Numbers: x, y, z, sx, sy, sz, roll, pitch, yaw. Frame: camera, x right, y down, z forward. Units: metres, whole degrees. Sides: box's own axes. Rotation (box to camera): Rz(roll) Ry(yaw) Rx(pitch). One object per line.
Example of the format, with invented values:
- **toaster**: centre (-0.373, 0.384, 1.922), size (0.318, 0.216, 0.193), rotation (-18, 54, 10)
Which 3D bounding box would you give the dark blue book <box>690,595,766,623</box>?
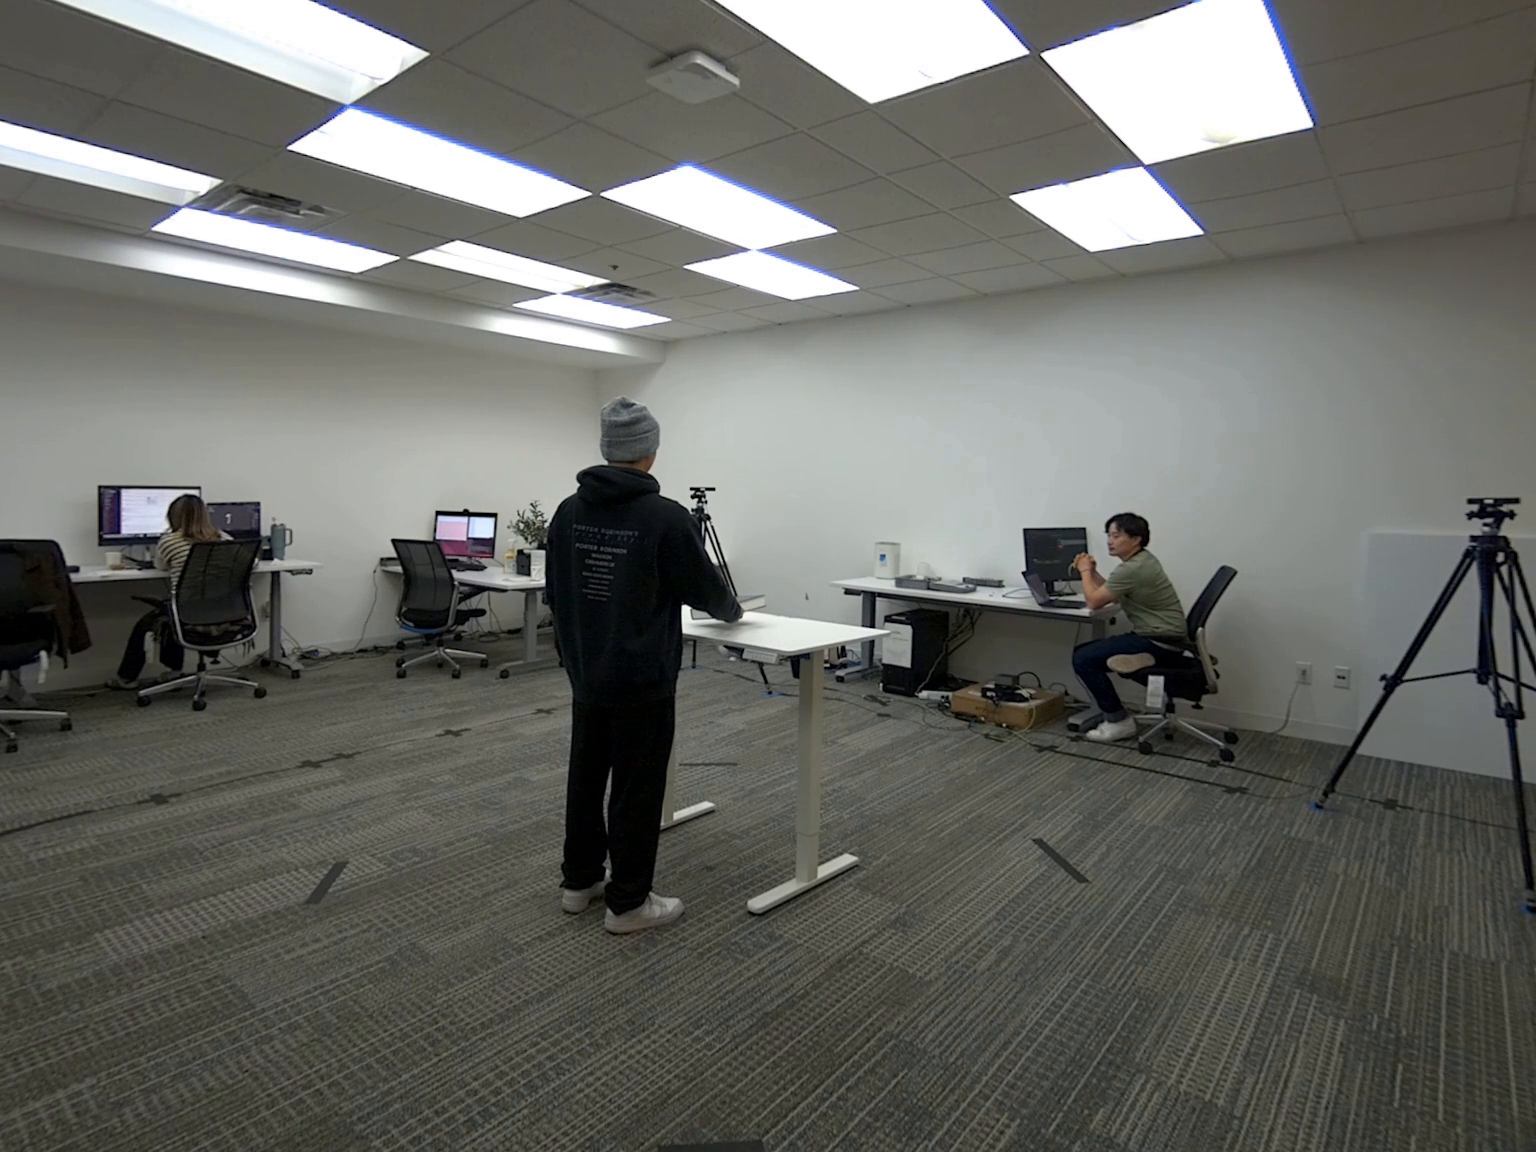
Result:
- **dark blue book**: centre (-0.173, 0.117, 3.177), size (0.239, 0.045, 0.168), rotation (-14, 7, -44)
